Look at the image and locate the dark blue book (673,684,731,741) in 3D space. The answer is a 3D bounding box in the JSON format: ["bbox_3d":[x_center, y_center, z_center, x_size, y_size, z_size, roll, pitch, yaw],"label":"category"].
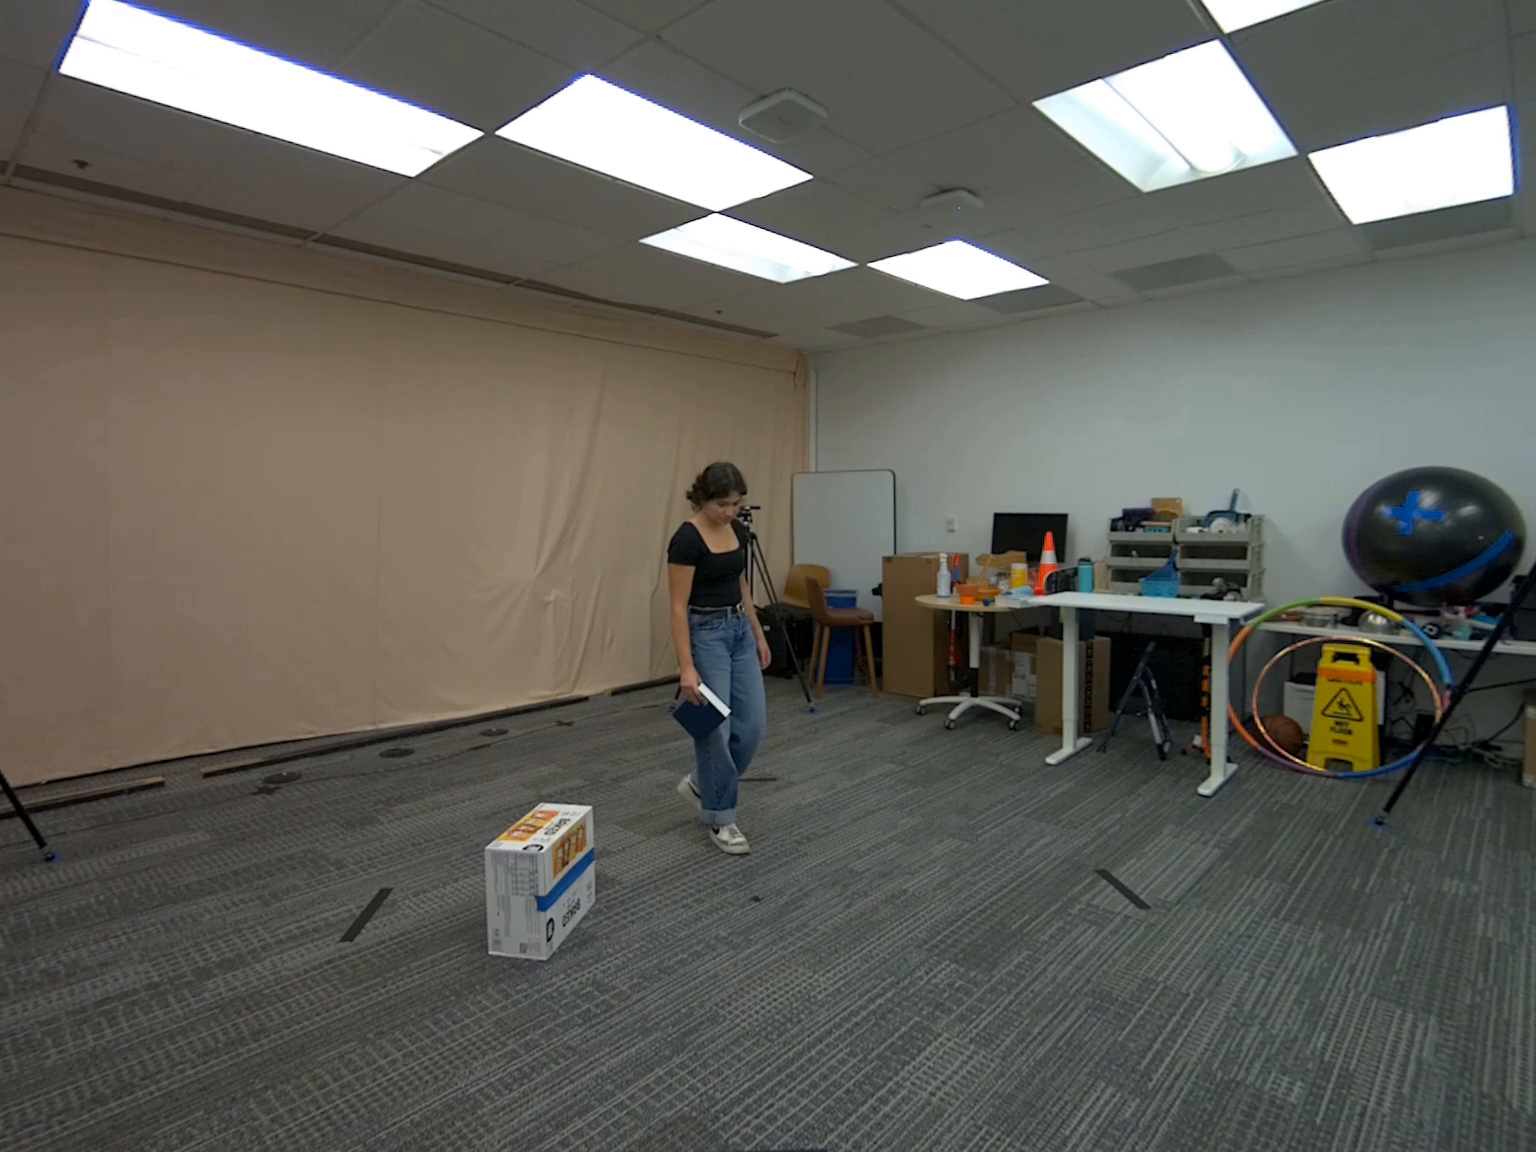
[{"bbox_3d":[-0.270,0.535,3.295,0.044,0.165,0.246,-38,-8,-46],"label":"dark blue book"}]
